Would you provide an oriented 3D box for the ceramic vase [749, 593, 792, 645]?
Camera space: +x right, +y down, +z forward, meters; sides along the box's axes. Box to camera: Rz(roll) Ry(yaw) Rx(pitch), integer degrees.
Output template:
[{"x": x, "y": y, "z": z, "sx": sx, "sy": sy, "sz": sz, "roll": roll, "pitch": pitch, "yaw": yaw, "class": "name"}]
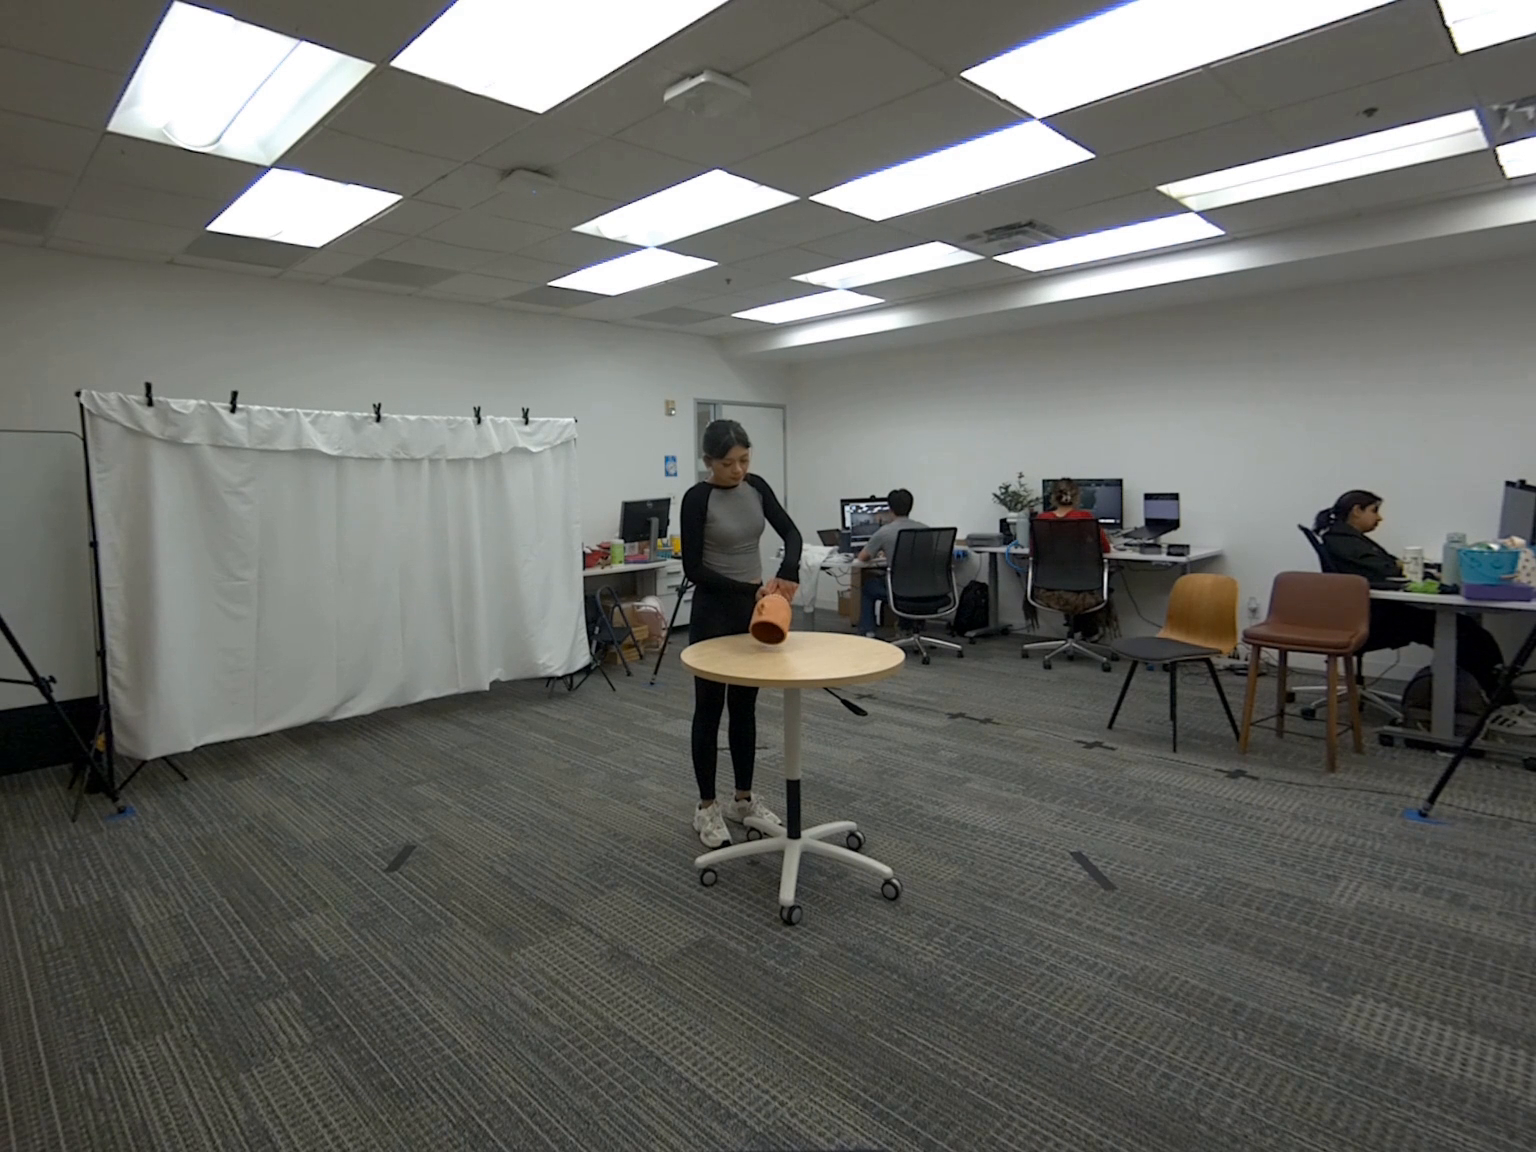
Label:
[{"x": 0.026, "y": 0.122, "z": 3.042, "sx": 0.134, "sy": 0.156, "sz": 0.223, "roll": 18, "pitch": 48, "yaw": -2, "class": "ceramic vase"}]
